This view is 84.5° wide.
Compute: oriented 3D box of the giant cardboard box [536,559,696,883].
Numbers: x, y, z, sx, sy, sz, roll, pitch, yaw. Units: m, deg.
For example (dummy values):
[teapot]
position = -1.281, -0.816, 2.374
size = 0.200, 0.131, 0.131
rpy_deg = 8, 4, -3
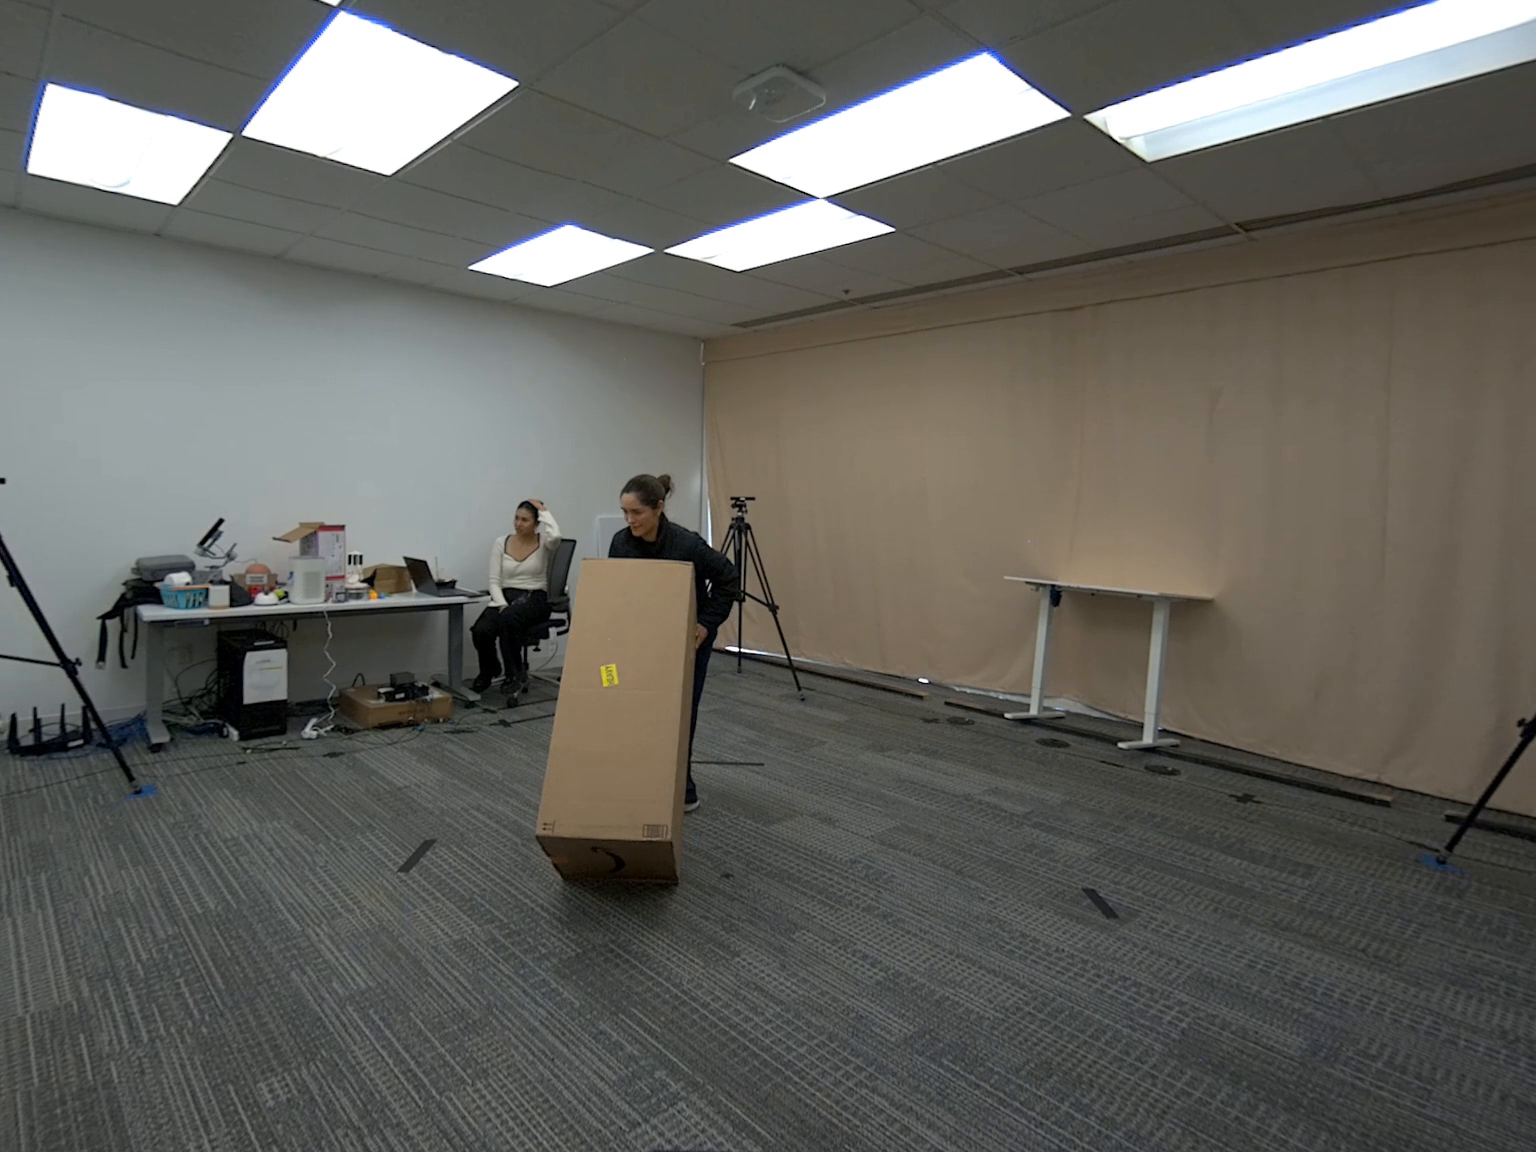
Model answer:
[giant cardboard box]
position = -0.522, 0.529, 3.080
size = 0.447, 1.048, 0.572
rpy_deg = 1, -34, -1
